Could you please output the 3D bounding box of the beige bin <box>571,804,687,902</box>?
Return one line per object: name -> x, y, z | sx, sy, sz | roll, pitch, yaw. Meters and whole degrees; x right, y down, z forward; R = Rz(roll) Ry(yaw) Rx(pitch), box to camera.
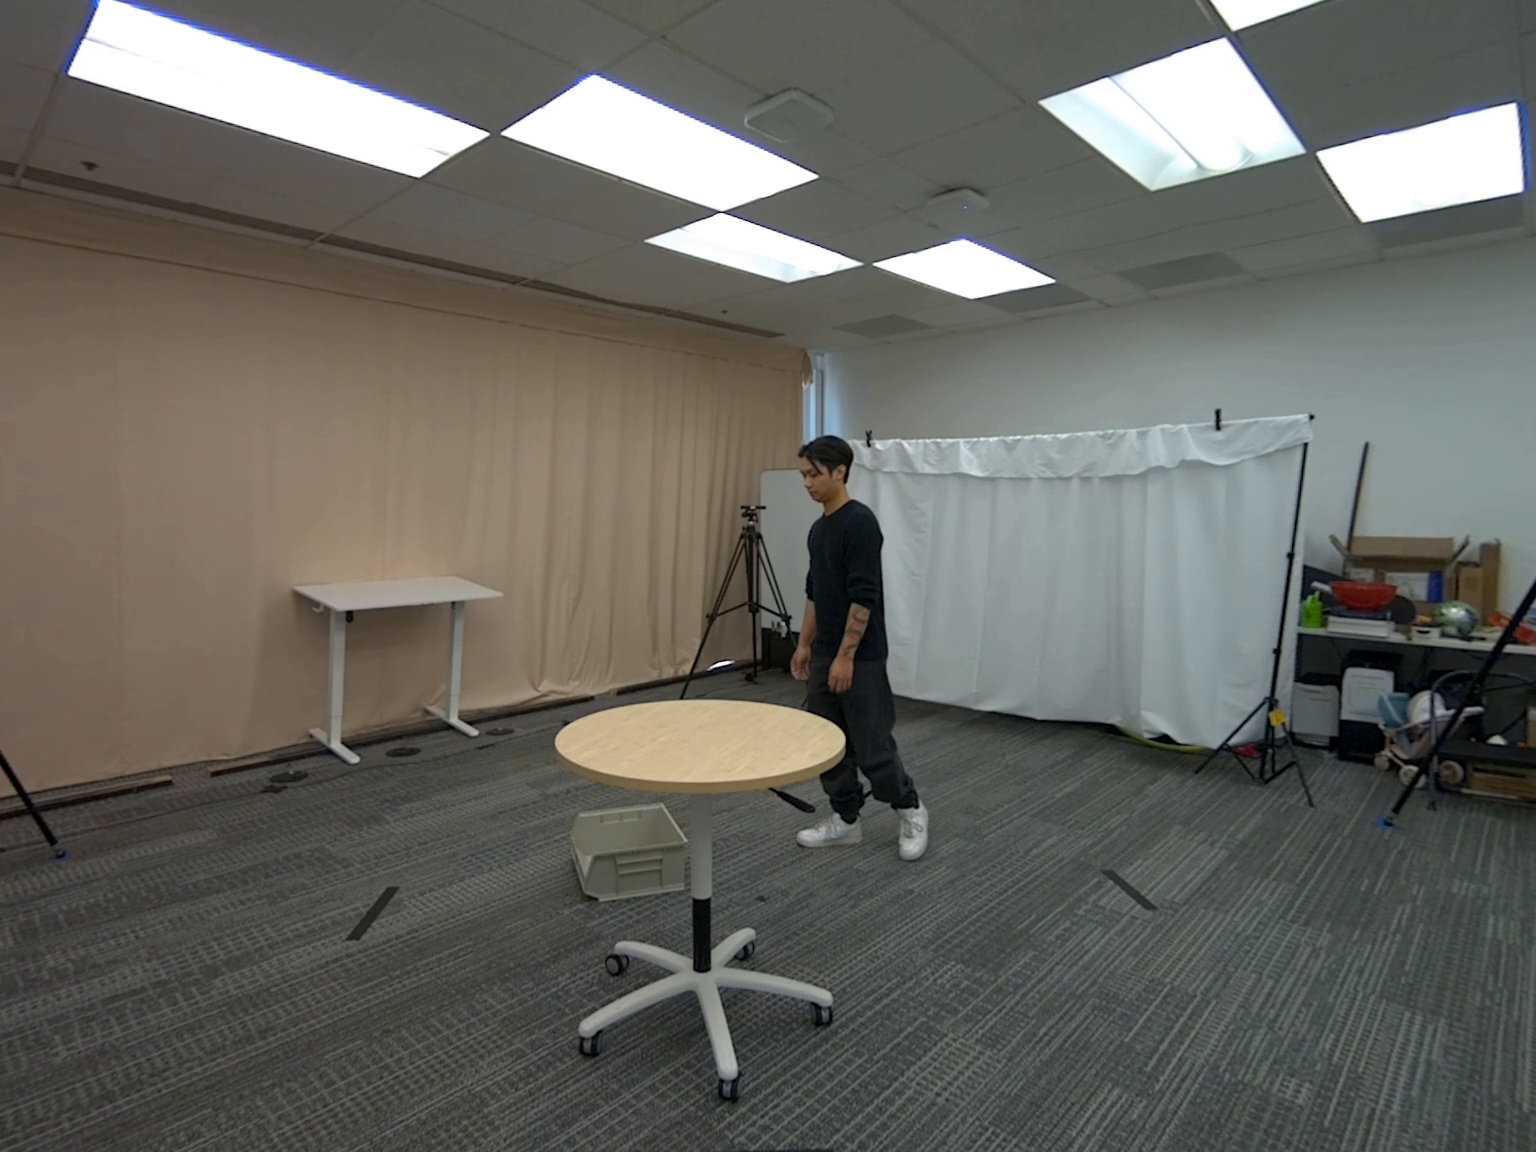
beige bin -> -0.546, 1.044, 3.194 | 0.371, 0.188, 0.431 | -1, 4, -18
